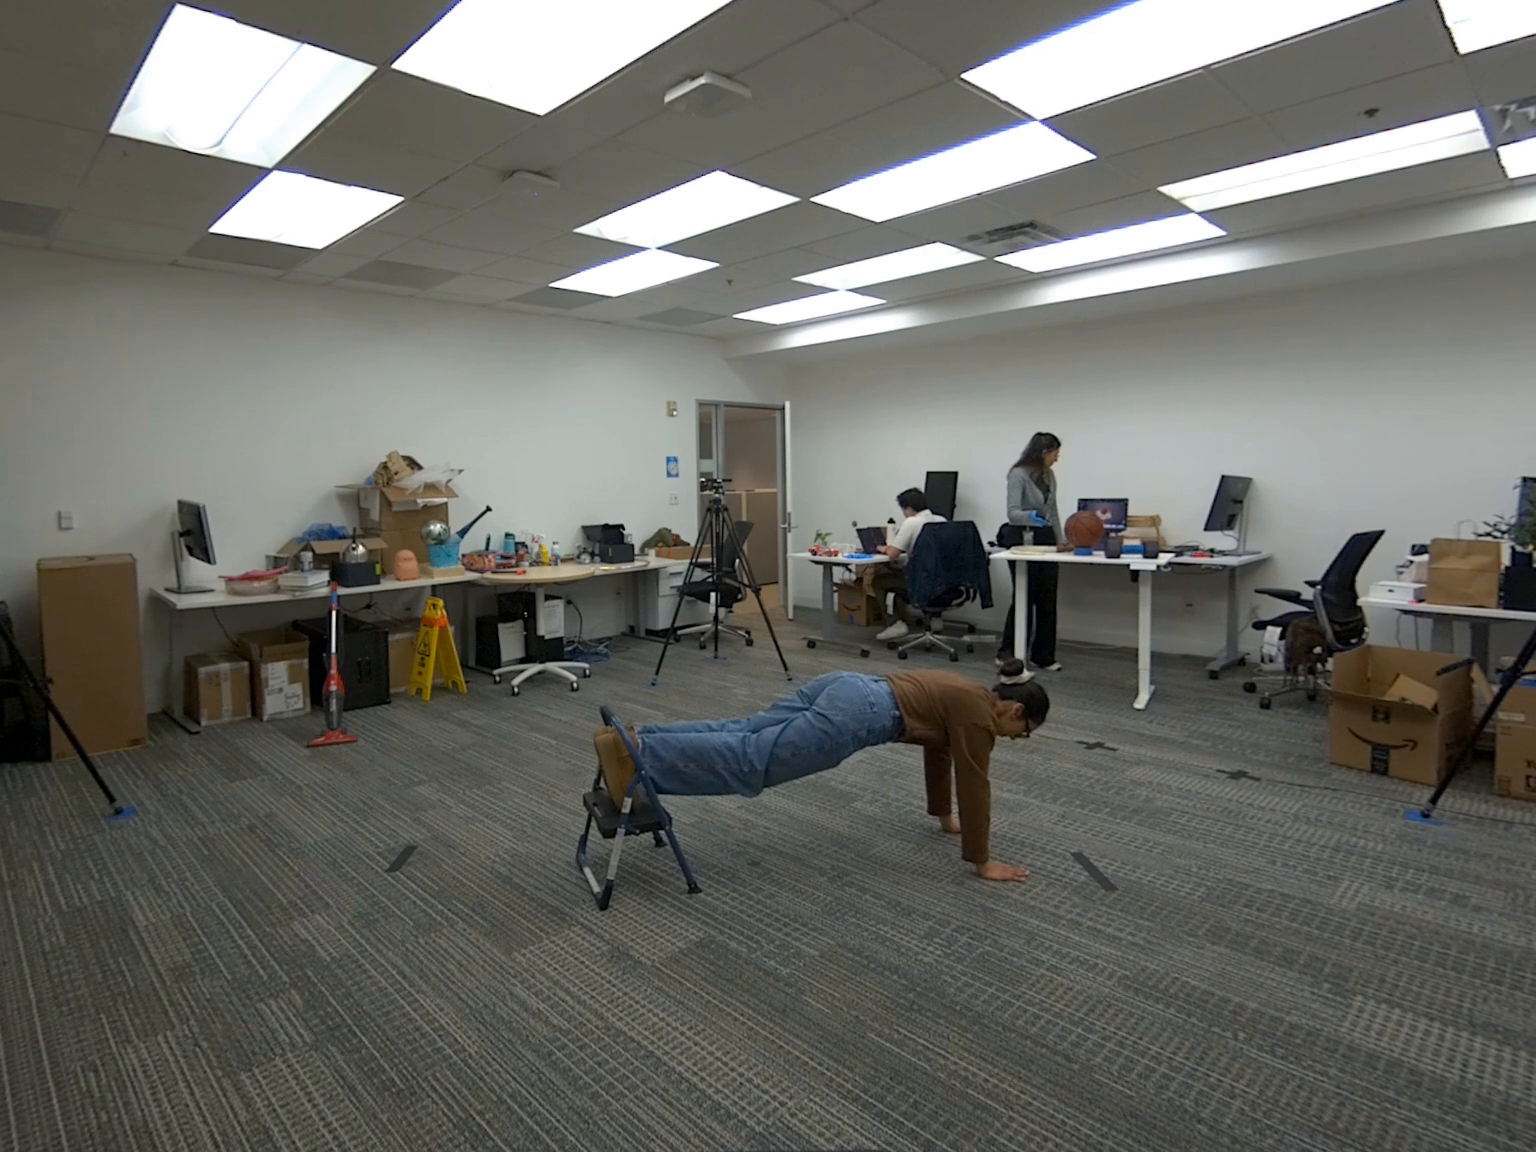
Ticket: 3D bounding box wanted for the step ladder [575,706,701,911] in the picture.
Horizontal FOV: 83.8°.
[{"bbox_3d":[-0.474,0.763,3.010,0.342,0.604,0.441,-3,5,-24],"label":"step ladder"}]
